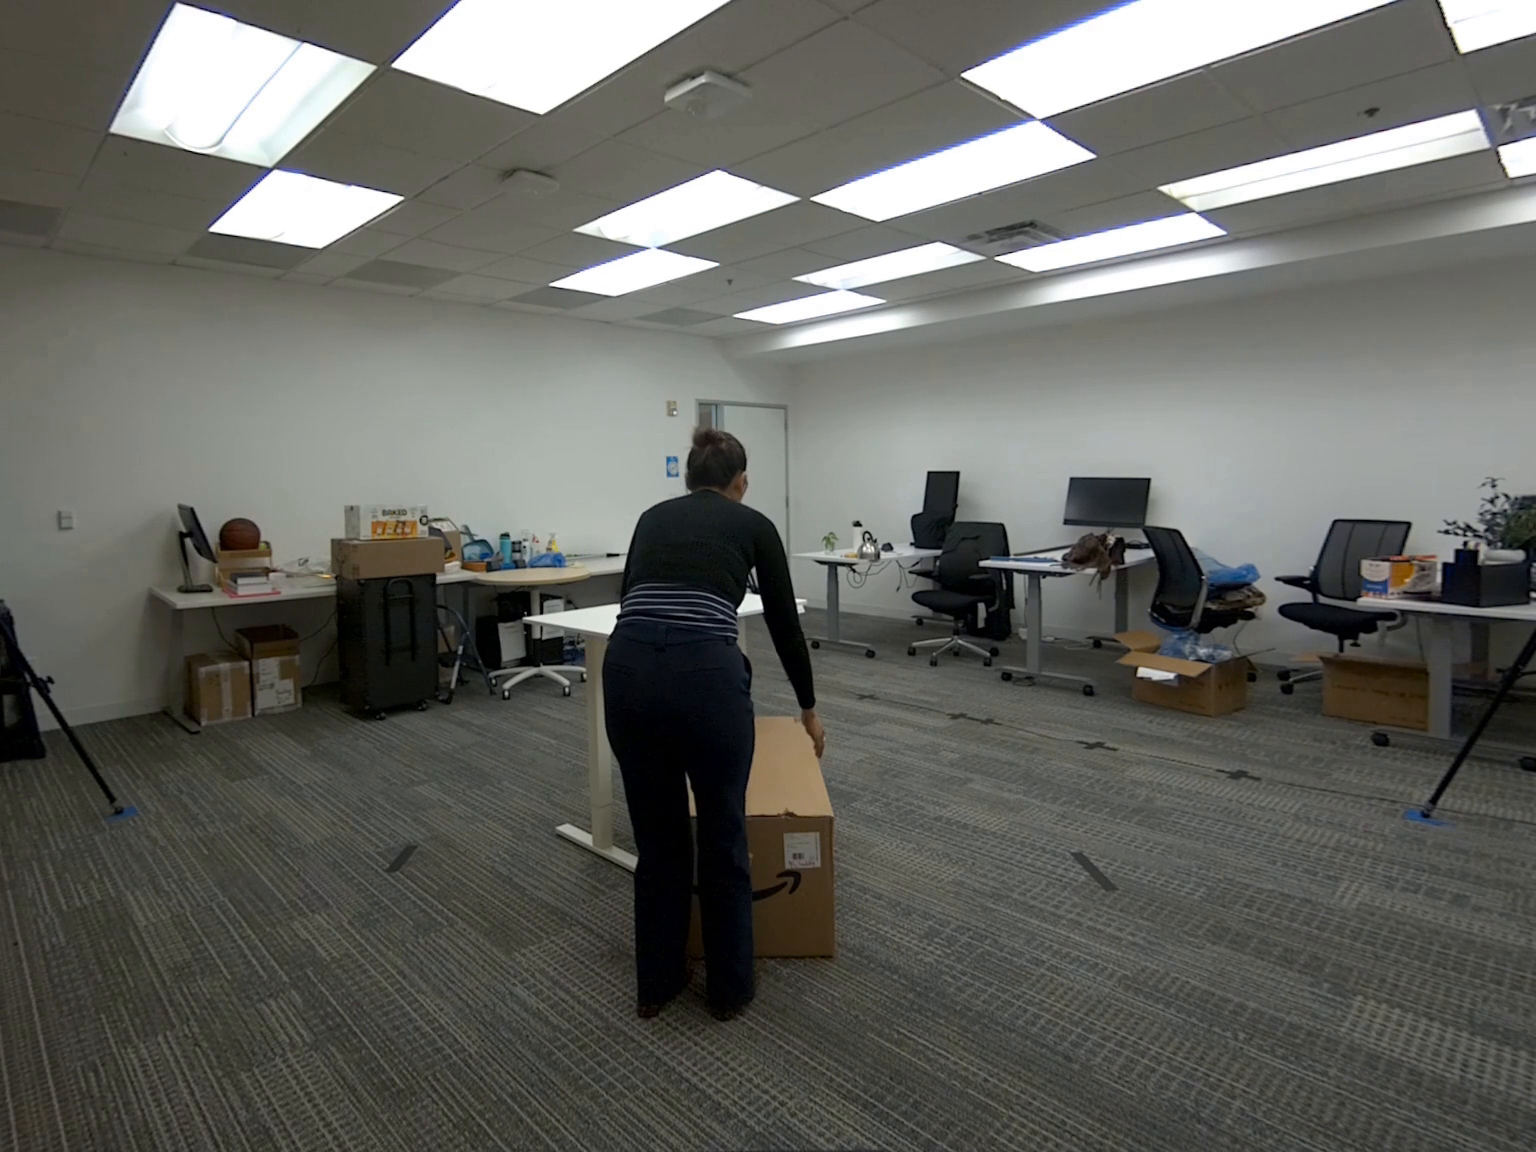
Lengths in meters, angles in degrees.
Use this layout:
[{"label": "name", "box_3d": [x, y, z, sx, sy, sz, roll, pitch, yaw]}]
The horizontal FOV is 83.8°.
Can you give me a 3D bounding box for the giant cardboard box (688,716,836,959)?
[{"label": "giant cardboard box", "box_3d": [-0.106, 0.844, 2.983, 0.577, 0.424, 1.032, -2, 6, -2]}]
